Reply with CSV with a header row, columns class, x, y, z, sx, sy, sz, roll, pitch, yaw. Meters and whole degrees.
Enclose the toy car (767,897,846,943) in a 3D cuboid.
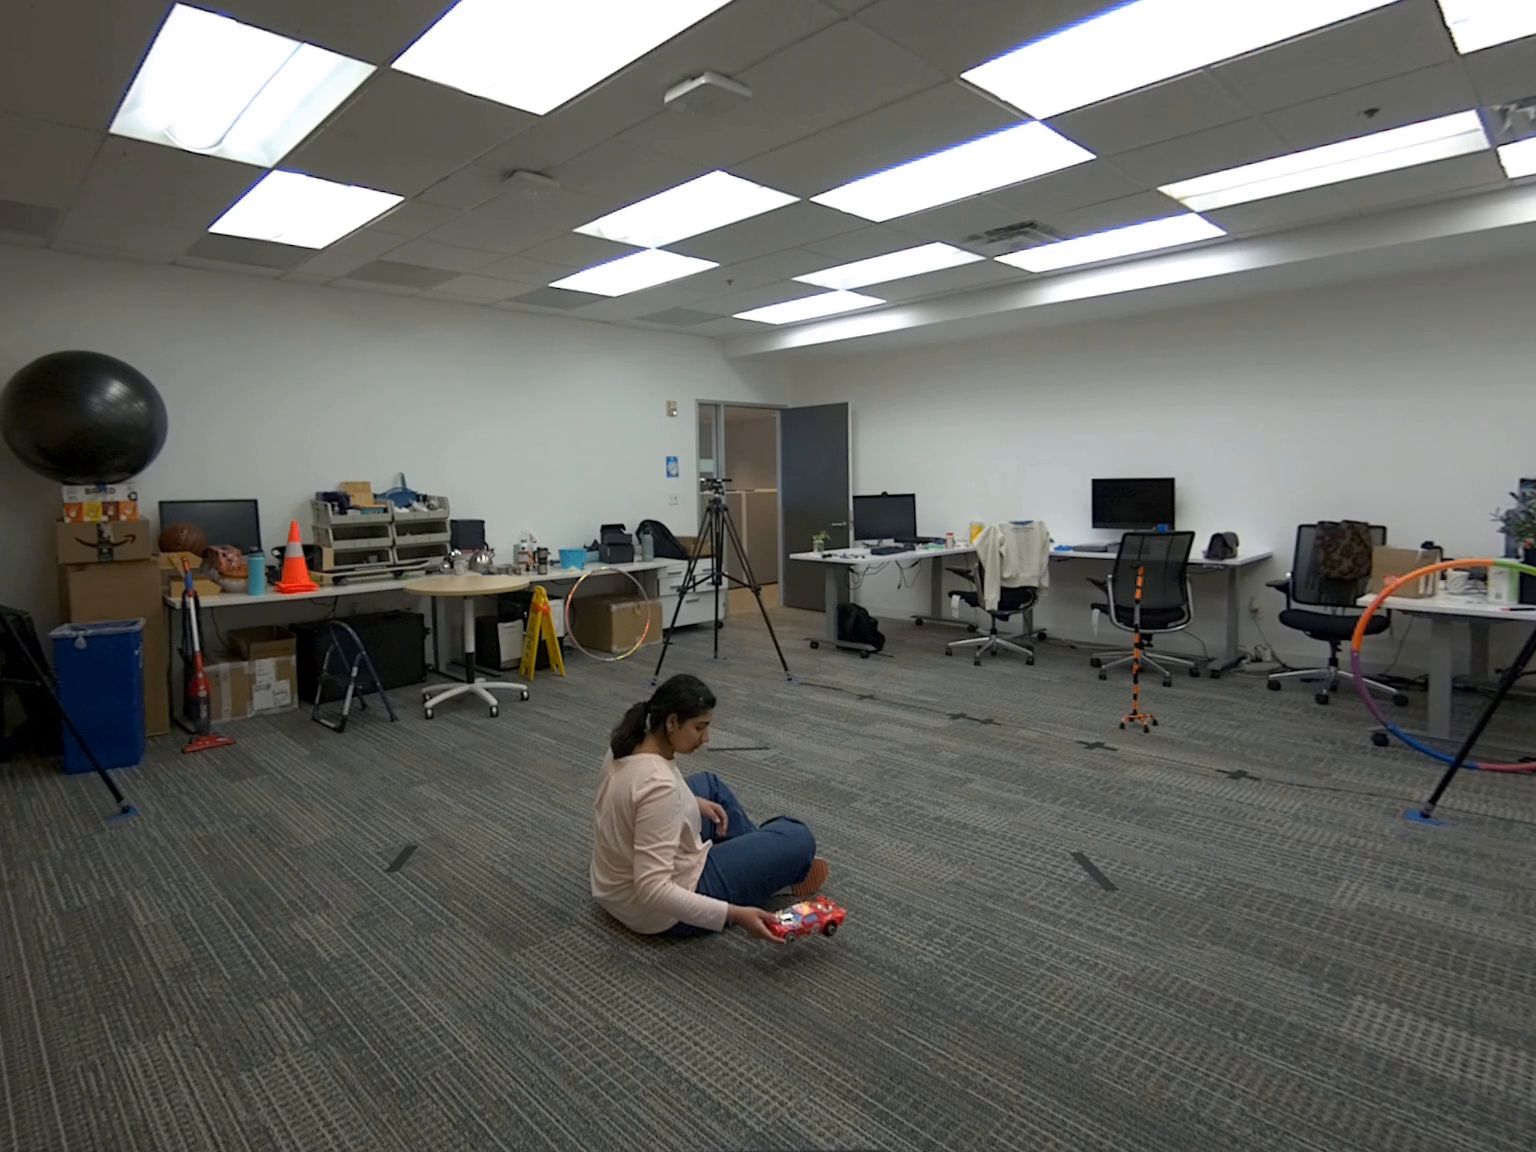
class,x,y,z,sx,sy,sz,roll,pitch,yaw
toy car,0.110,1.001,2.501,0.249,0.082,0.134,-11,12,-29
